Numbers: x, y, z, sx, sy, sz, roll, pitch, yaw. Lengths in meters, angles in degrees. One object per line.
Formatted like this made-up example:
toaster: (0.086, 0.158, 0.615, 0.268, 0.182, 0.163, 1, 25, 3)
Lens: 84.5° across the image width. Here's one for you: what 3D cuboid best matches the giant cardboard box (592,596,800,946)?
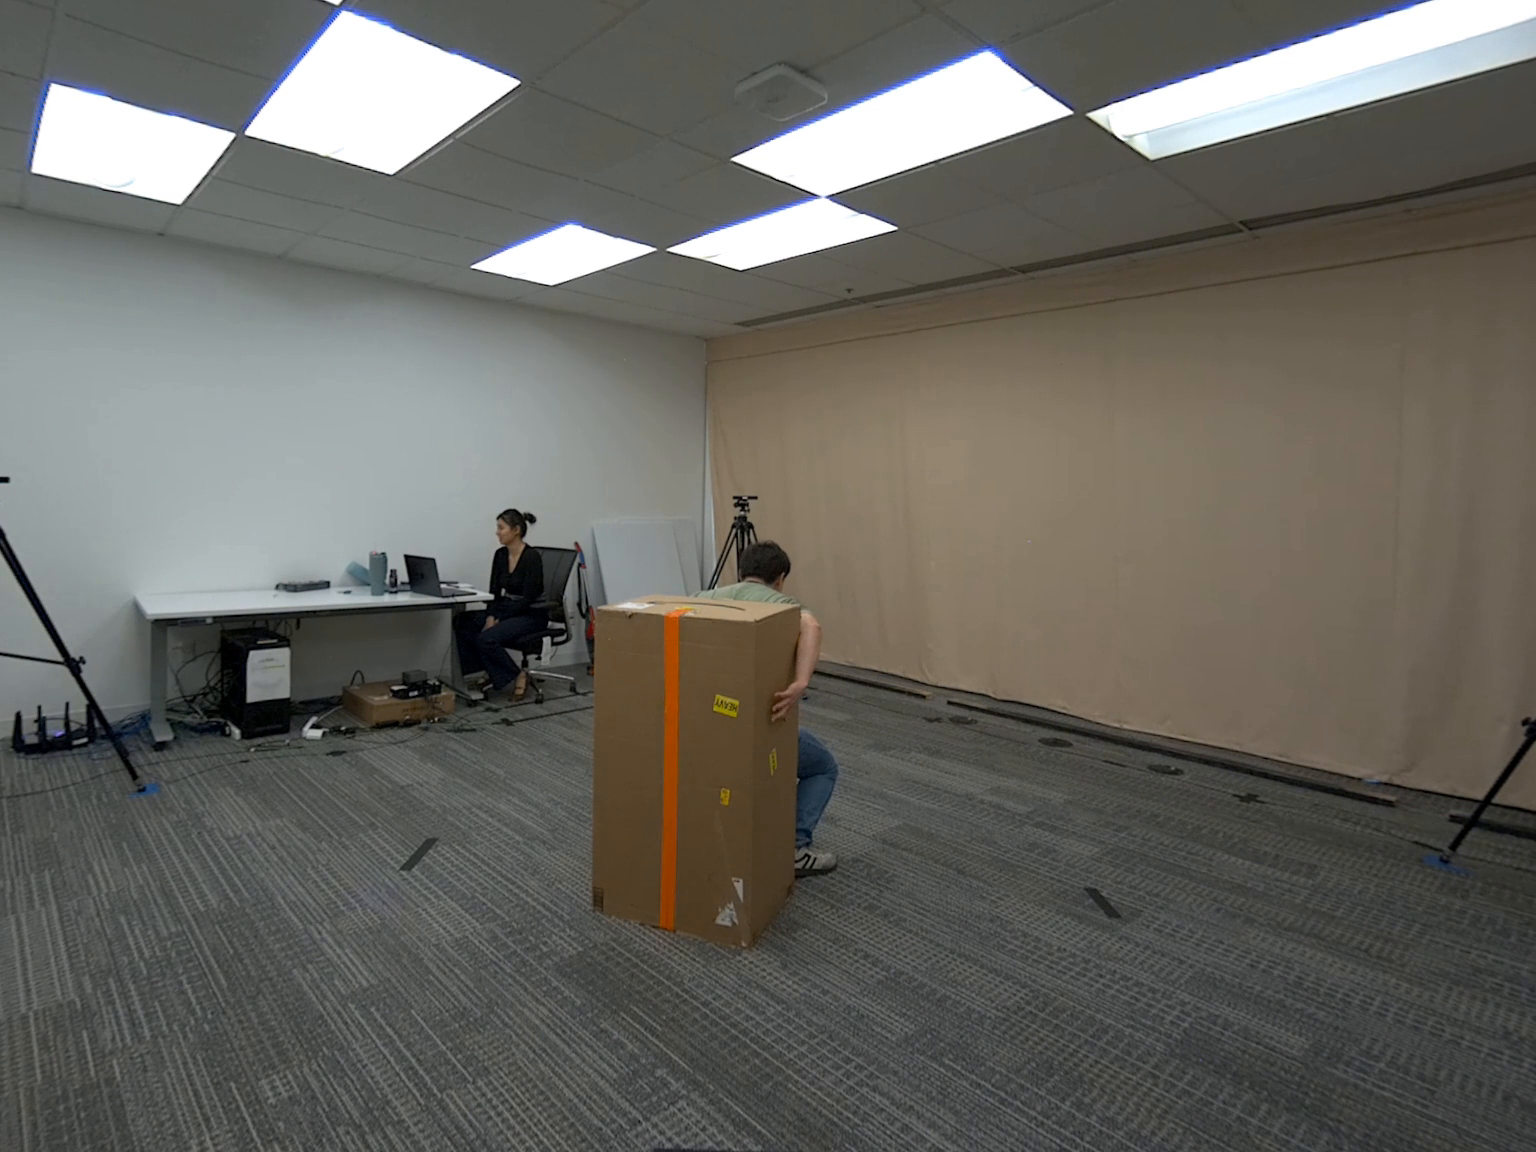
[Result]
giant cardboard box: (-0.246, 0.609, 2.854, 0.588, 1.023, 0.419, 3, 4, 23)
